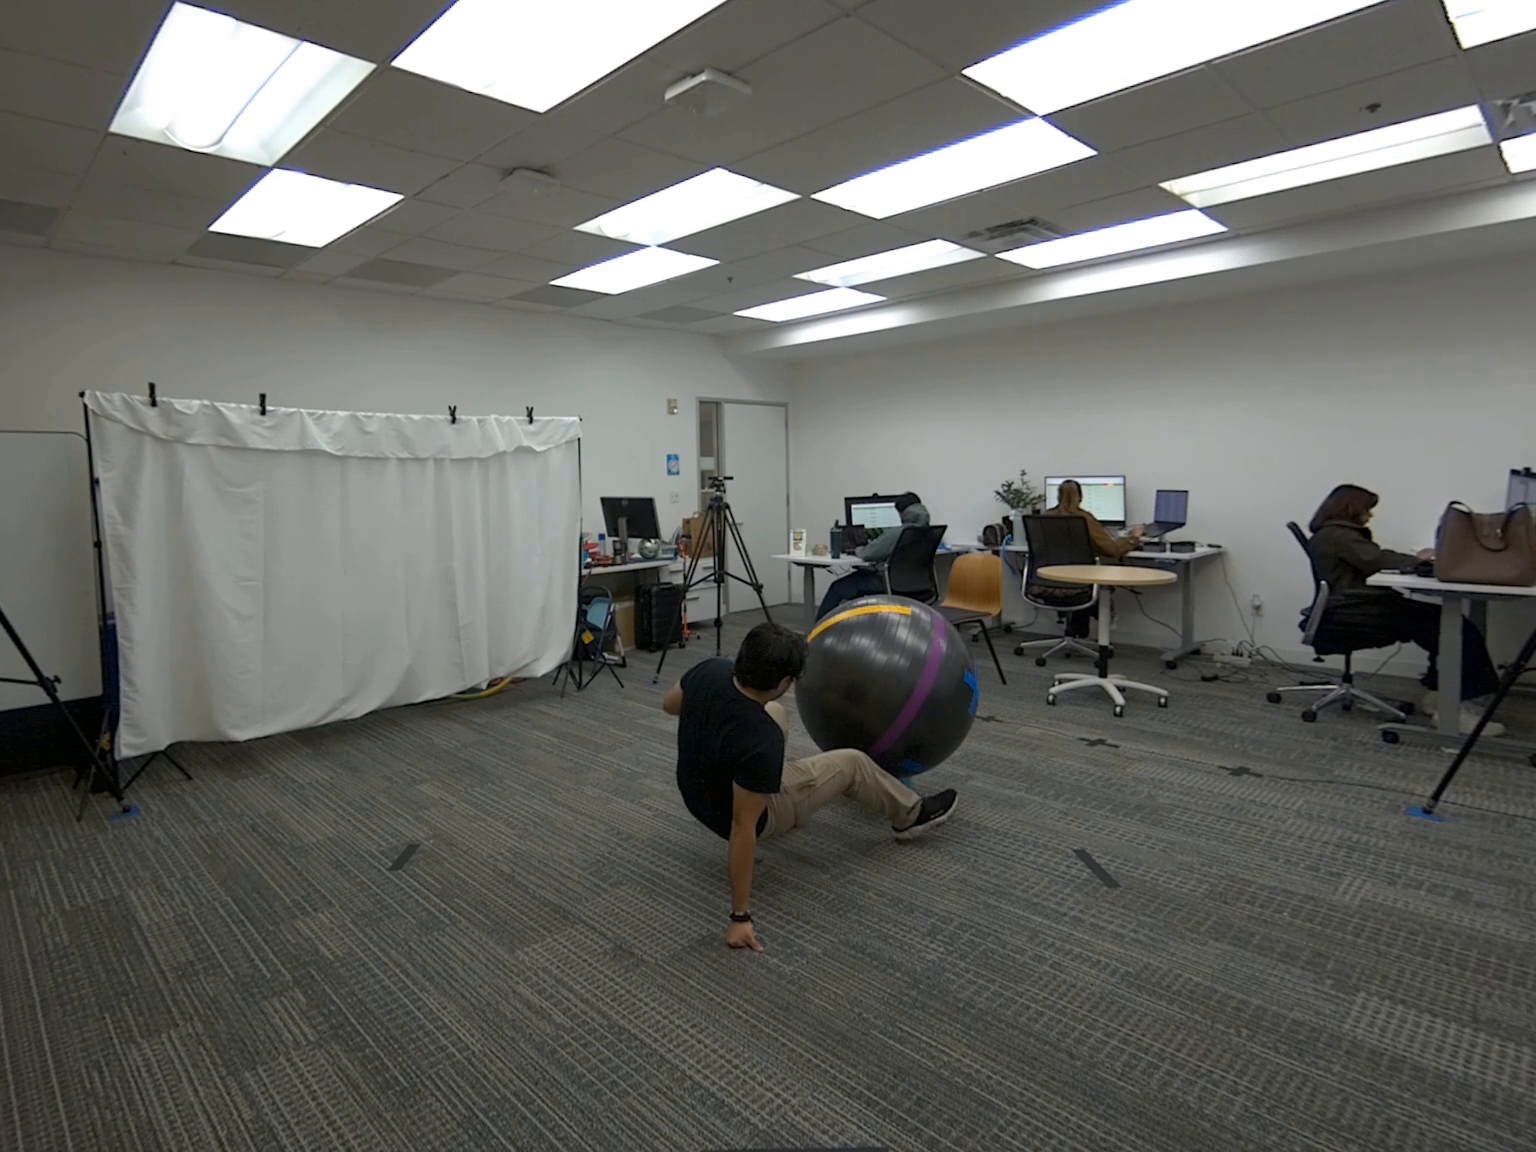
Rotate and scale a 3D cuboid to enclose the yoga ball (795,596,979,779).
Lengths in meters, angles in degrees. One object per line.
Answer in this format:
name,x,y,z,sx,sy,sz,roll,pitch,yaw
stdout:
yoga ball,0.492,0.463,3.590,0.757,0.755,0.762,-1,5,-2
